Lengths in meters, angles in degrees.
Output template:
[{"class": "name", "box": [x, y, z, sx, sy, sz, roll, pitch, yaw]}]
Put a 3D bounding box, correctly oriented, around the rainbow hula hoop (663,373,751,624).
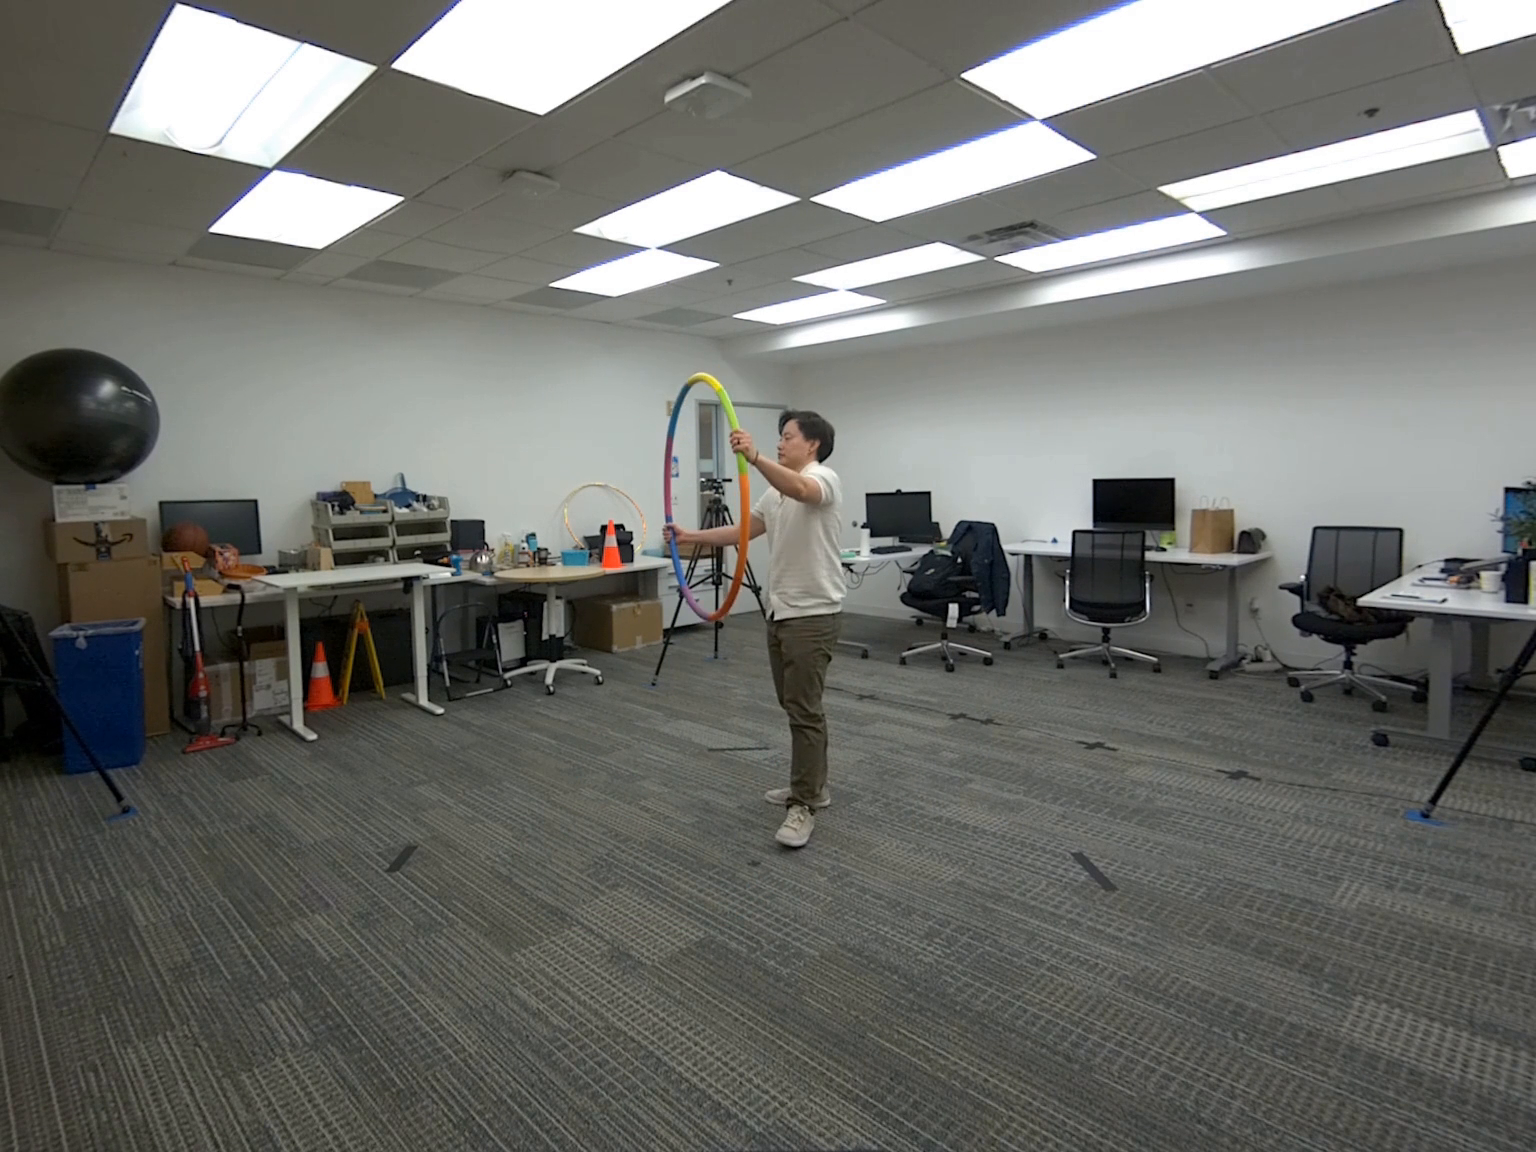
[{"class": "rainbow hula hoop", "box": [-0.270, -0.316, 3.448, 0.035, 0.975, 1.001, -2, 5, -23]}]
